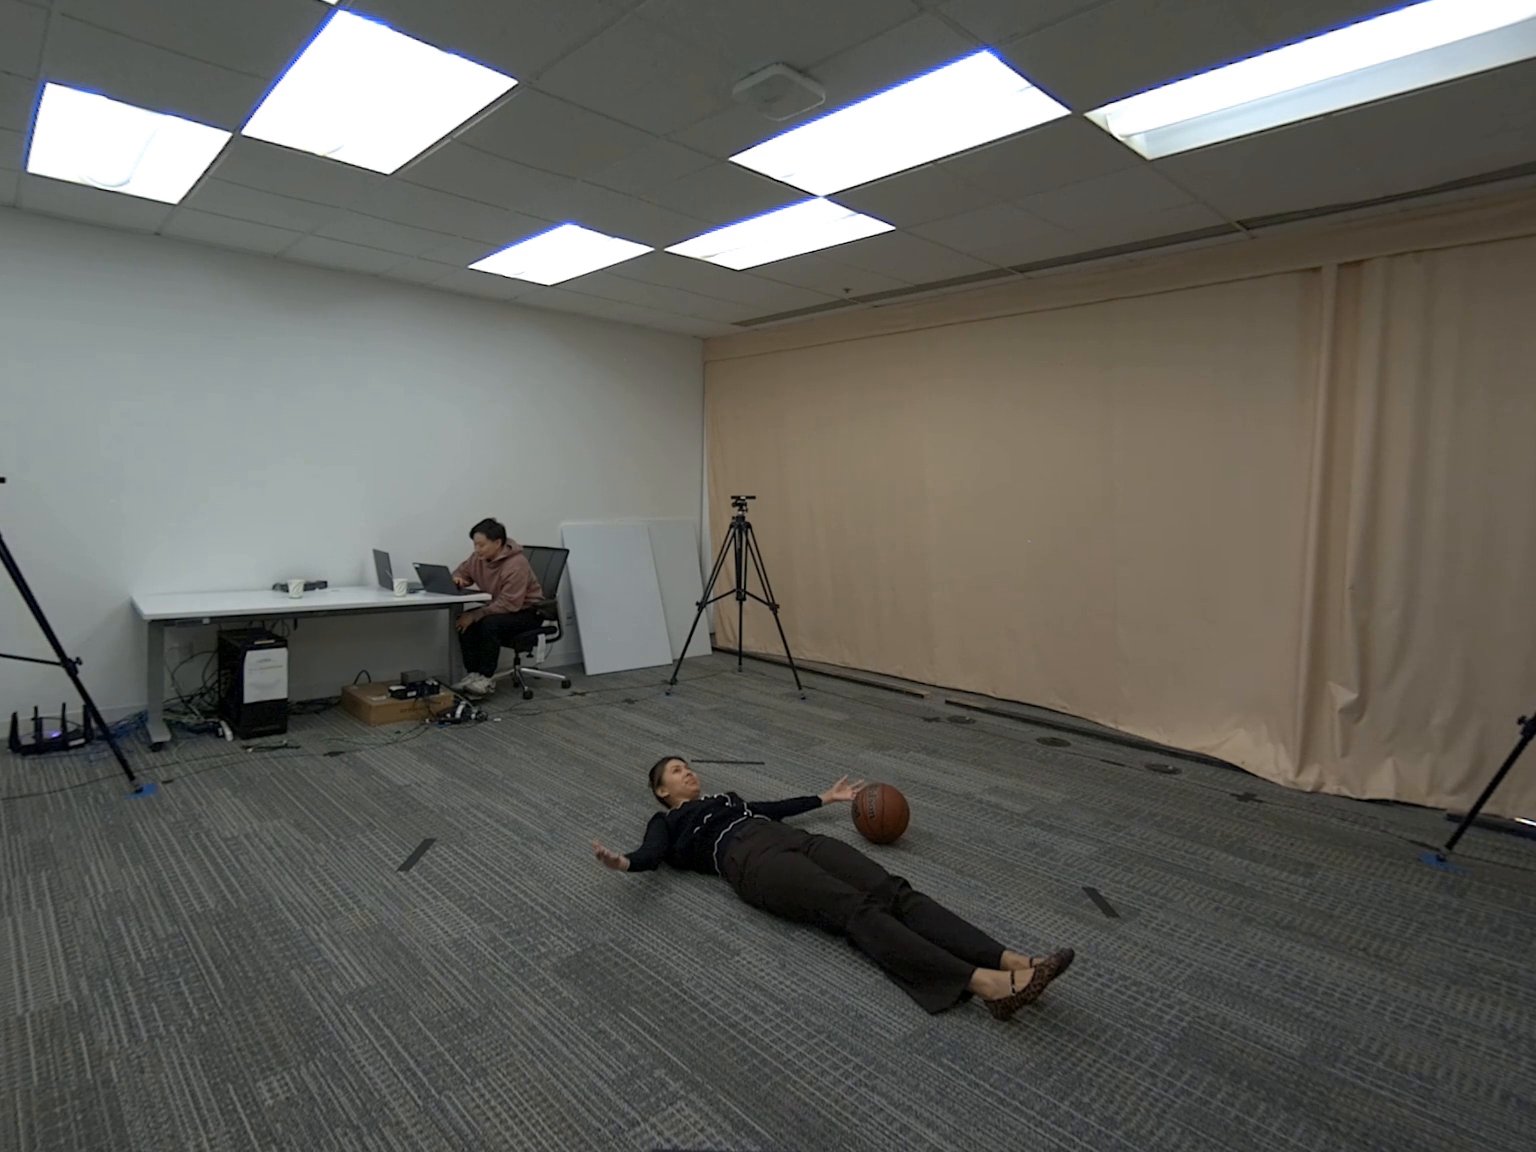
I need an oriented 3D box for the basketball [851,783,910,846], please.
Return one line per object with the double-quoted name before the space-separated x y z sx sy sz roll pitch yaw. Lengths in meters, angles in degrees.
"basketball" 0.450 0.970 3.448 0.236 0.235 0.237 1 4 -1
